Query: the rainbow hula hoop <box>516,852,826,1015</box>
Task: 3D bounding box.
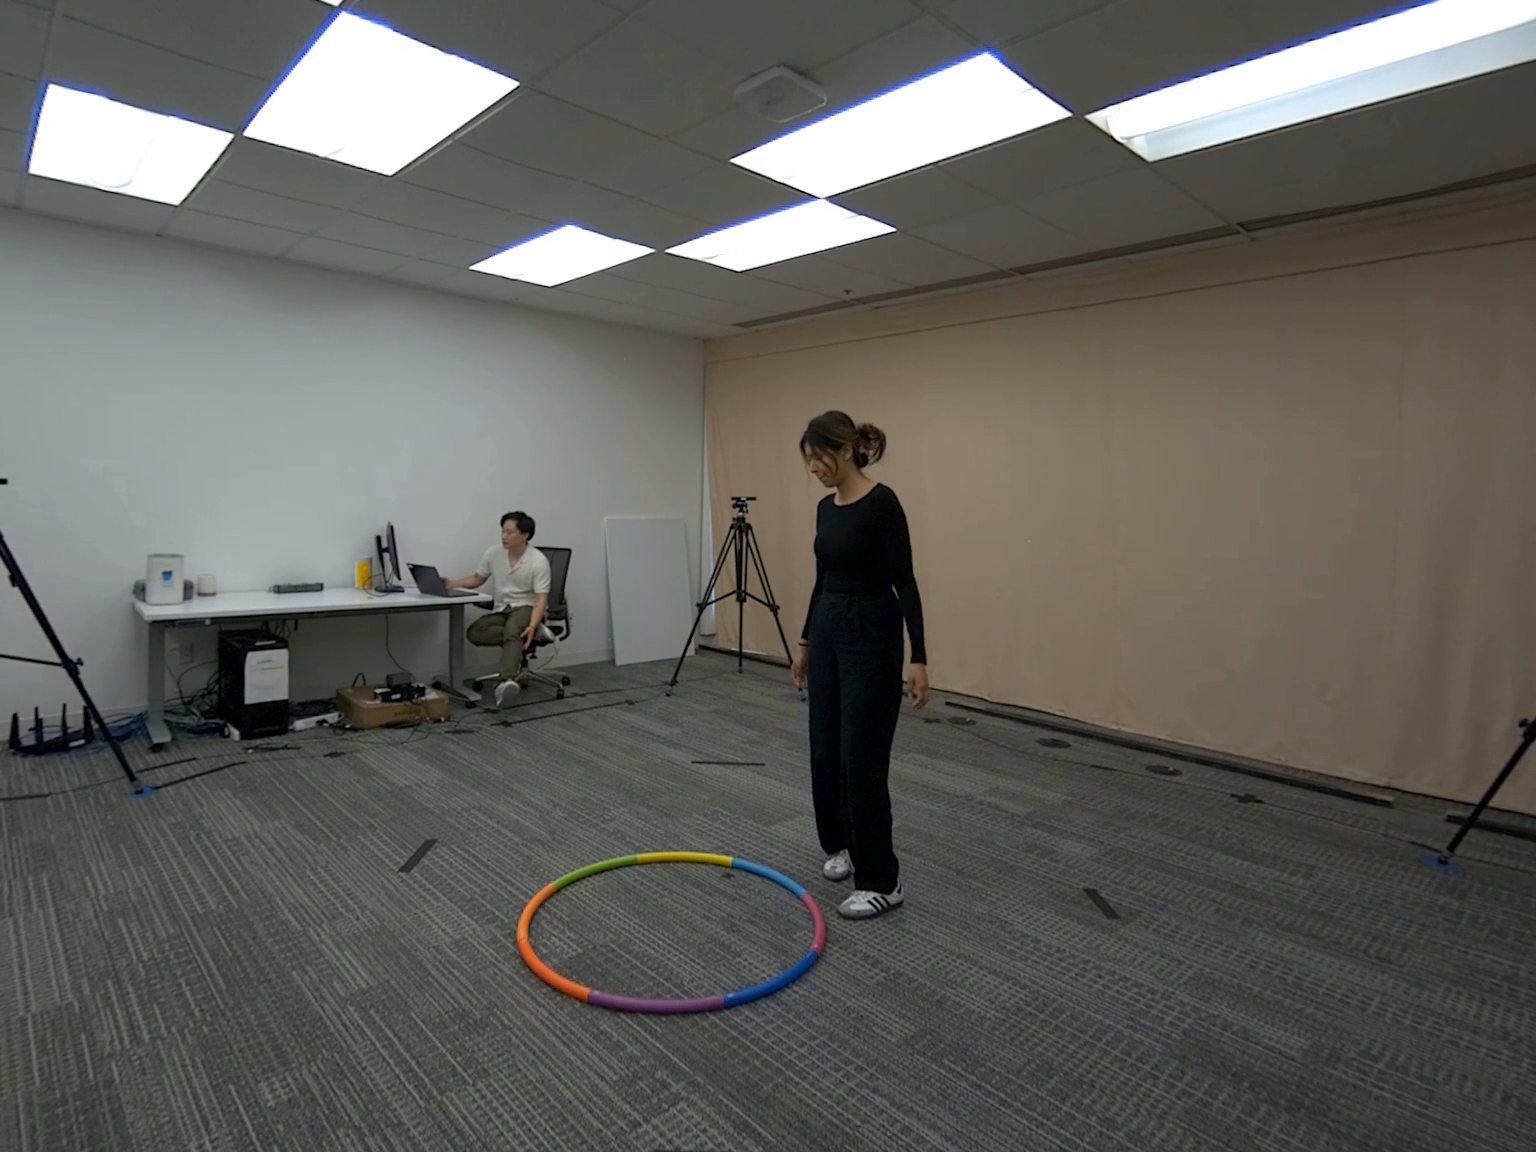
[{"bbox_3d":[-0.312,1.109,2.745,0.978,0.035,0.982,1,5,-1],"label":"rainbow hula hoop"}]
